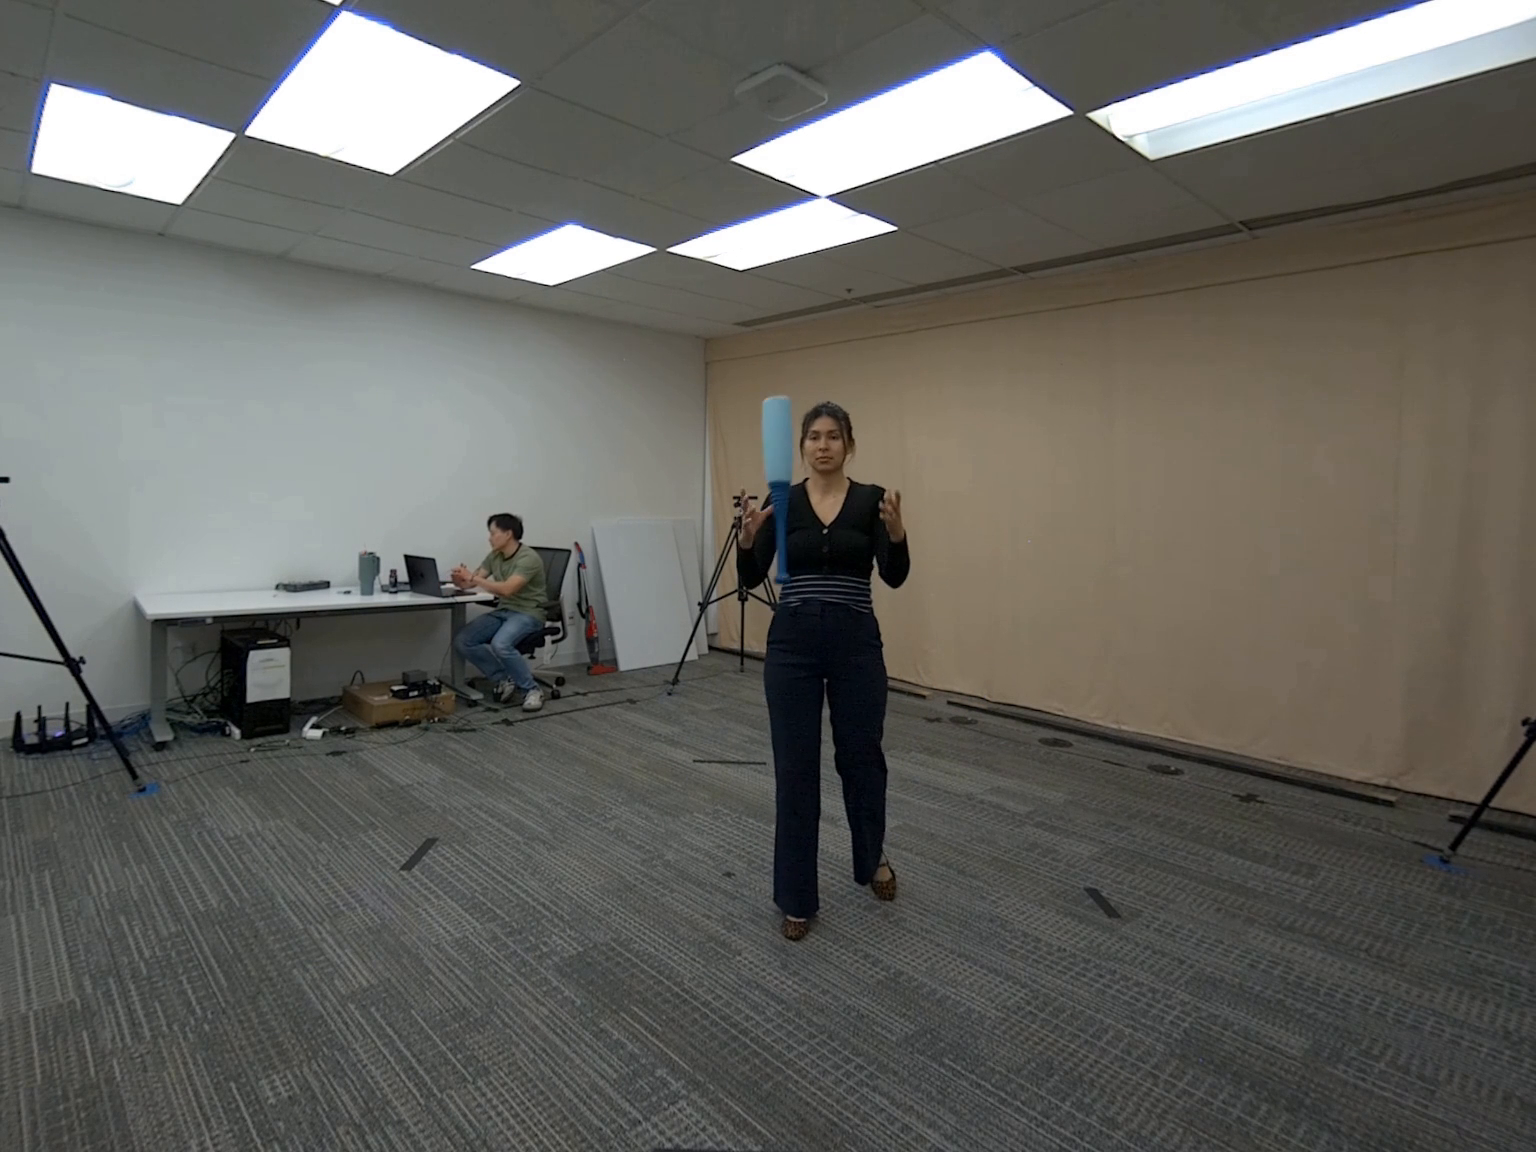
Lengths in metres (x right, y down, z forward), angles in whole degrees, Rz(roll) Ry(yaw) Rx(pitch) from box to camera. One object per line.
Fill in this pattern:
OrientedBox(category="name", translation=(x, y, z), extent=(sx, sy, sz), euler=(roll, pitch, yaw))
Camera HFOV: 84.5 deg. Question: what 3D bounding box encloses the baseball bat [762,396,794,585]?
OrientedBox(category="baseball bat", translation=(0.040, -0.223, 2.413), extent=(0.089, 0.545, 0.089), euler=(-1, -6, -1))
